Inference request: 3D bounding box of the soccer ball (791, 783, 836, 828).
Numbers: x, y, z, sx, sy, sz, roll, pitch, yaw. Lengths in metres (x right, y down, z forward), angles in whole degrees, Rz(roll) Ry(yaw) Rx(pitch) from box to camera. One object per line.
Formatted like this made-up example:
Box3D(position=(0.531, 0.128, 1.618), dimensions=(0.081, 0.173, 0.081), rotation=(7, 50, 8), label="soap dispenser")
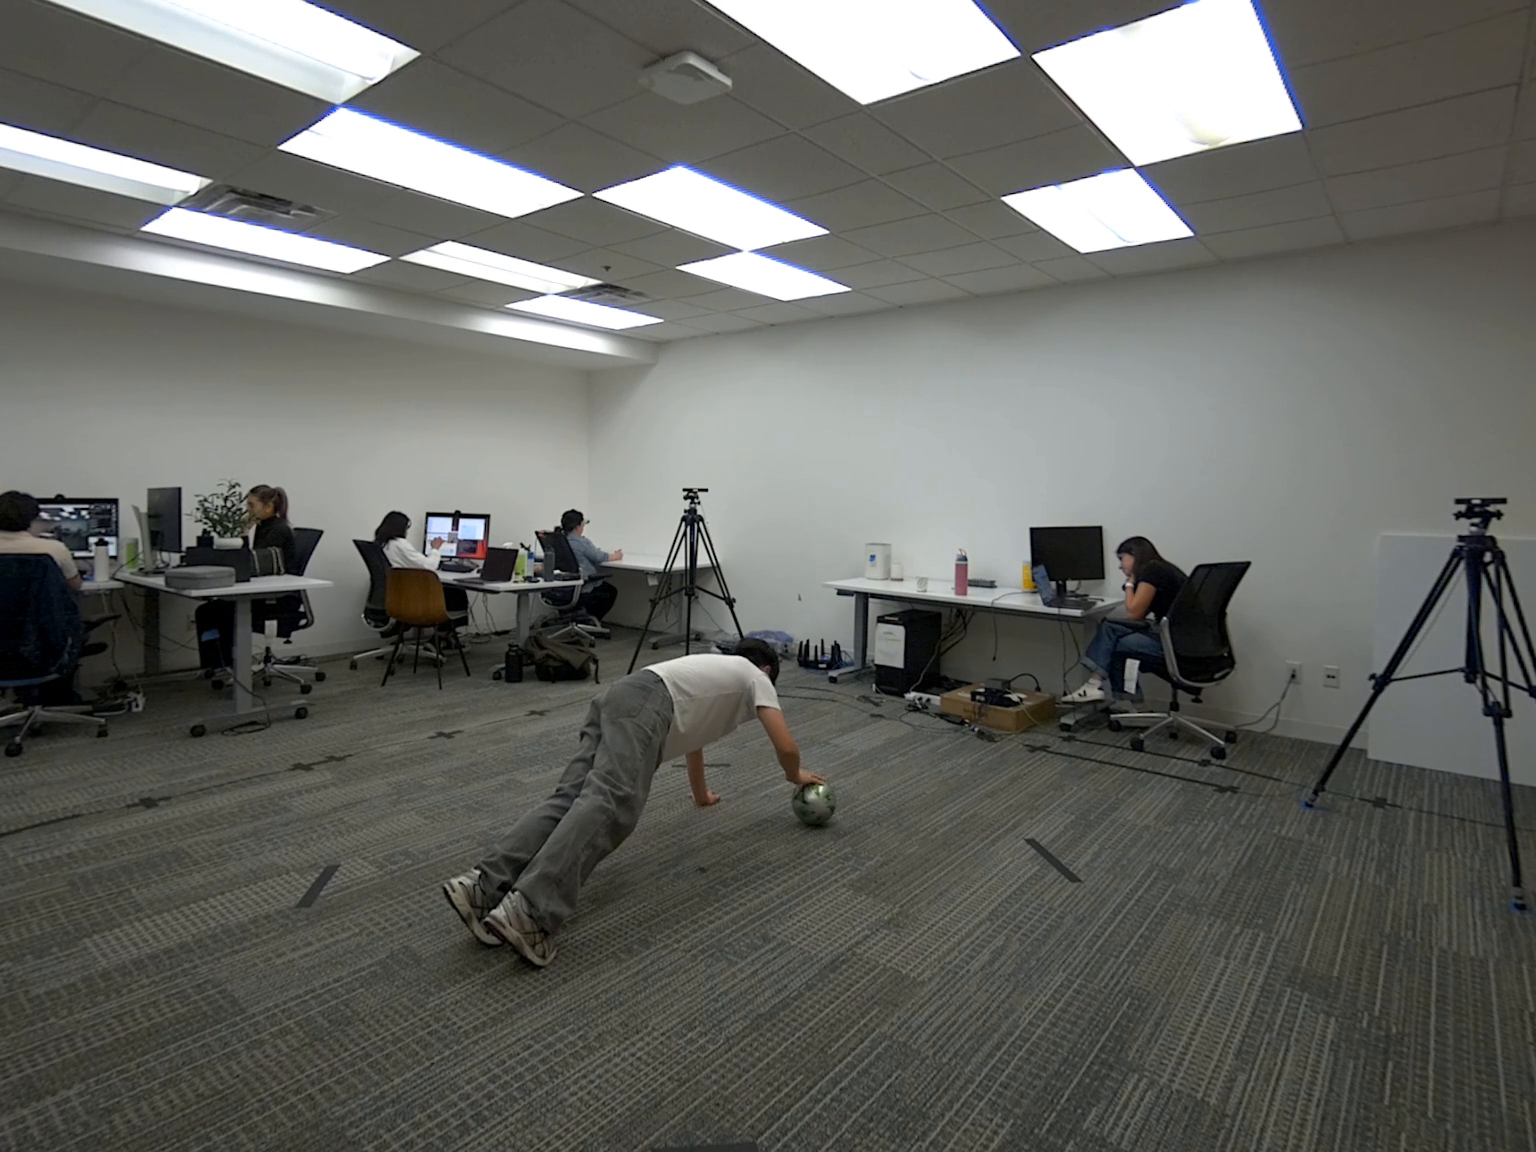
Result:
Box3D(position=(0.188, 0.936, 3.564), dimensions=(0.187, 0.187, 0.188), rotation=(1, 4, -2), label="soccer ball")
